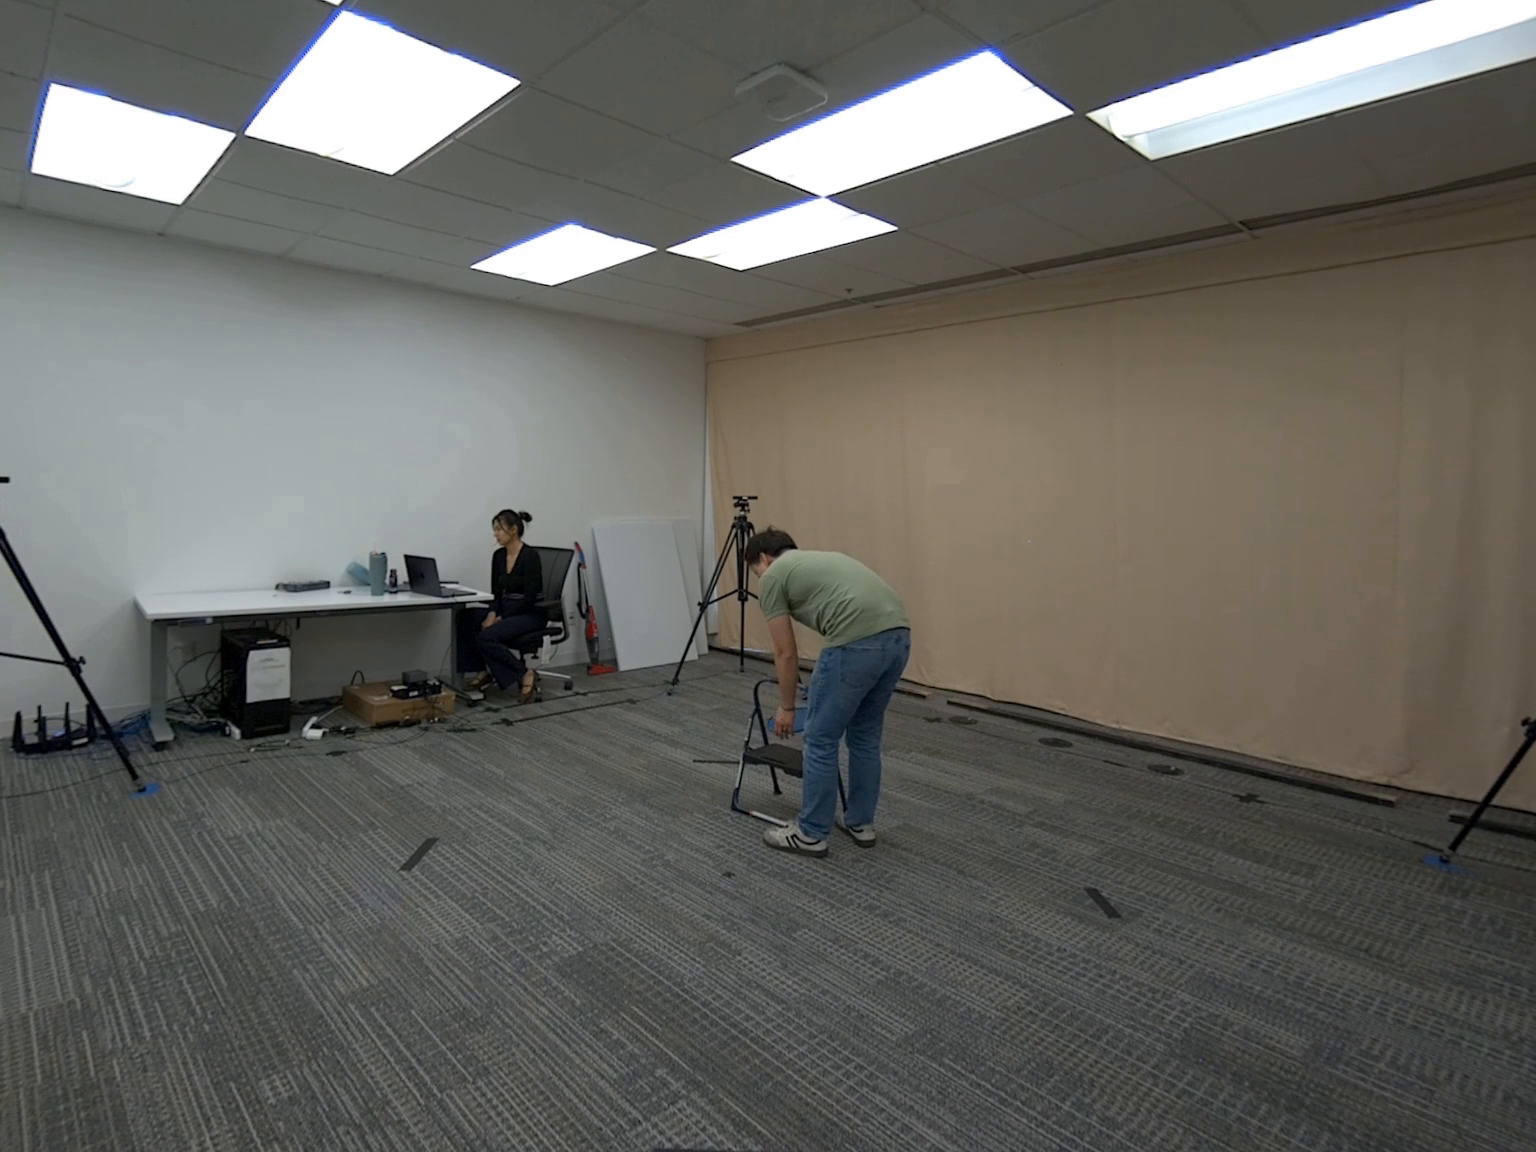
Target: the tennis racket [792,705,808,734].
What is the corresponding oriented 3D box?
[{"bbox_3d":[0.192,0.617,3.692,0.426,0.031,0.219,-20,20,-35],"label":"tennis racket"}]
